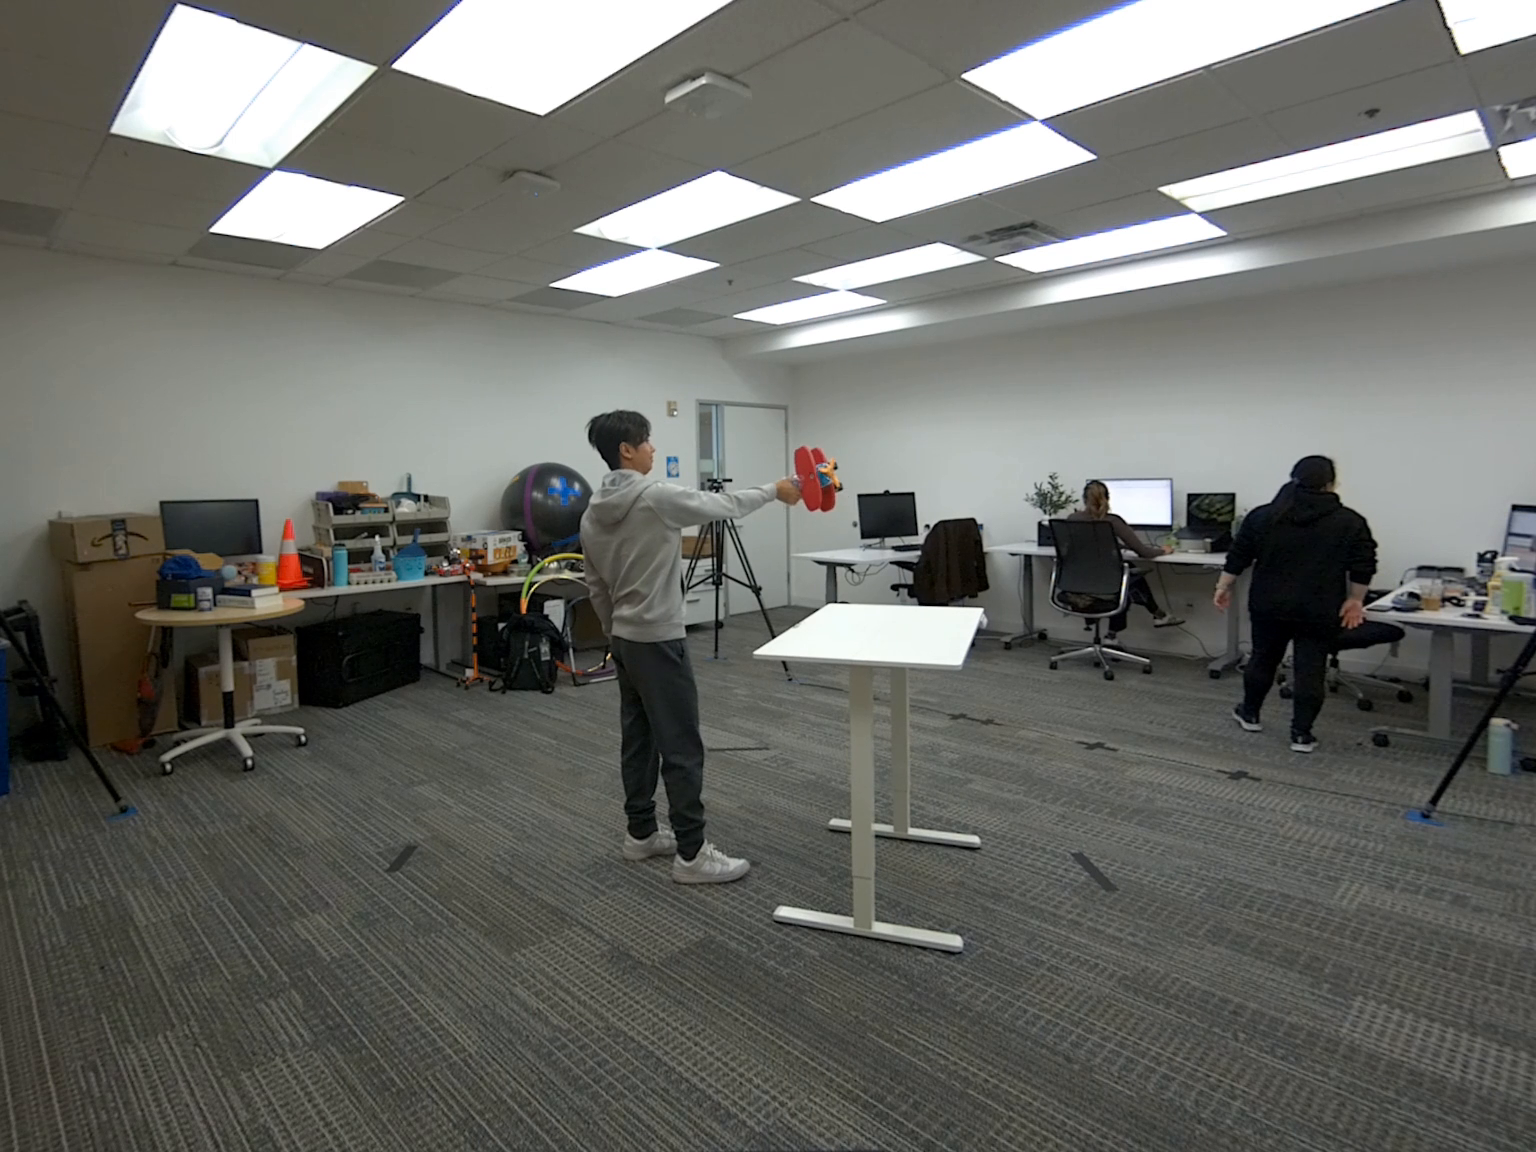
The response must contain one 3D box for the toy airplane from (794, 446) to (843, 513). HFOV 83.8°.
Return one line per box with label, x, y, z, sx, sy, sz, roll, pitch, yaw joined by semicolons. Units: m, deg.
toy airplane;0.159;-0.345;3.304;0.259;0.259;0.152;52;23;25
